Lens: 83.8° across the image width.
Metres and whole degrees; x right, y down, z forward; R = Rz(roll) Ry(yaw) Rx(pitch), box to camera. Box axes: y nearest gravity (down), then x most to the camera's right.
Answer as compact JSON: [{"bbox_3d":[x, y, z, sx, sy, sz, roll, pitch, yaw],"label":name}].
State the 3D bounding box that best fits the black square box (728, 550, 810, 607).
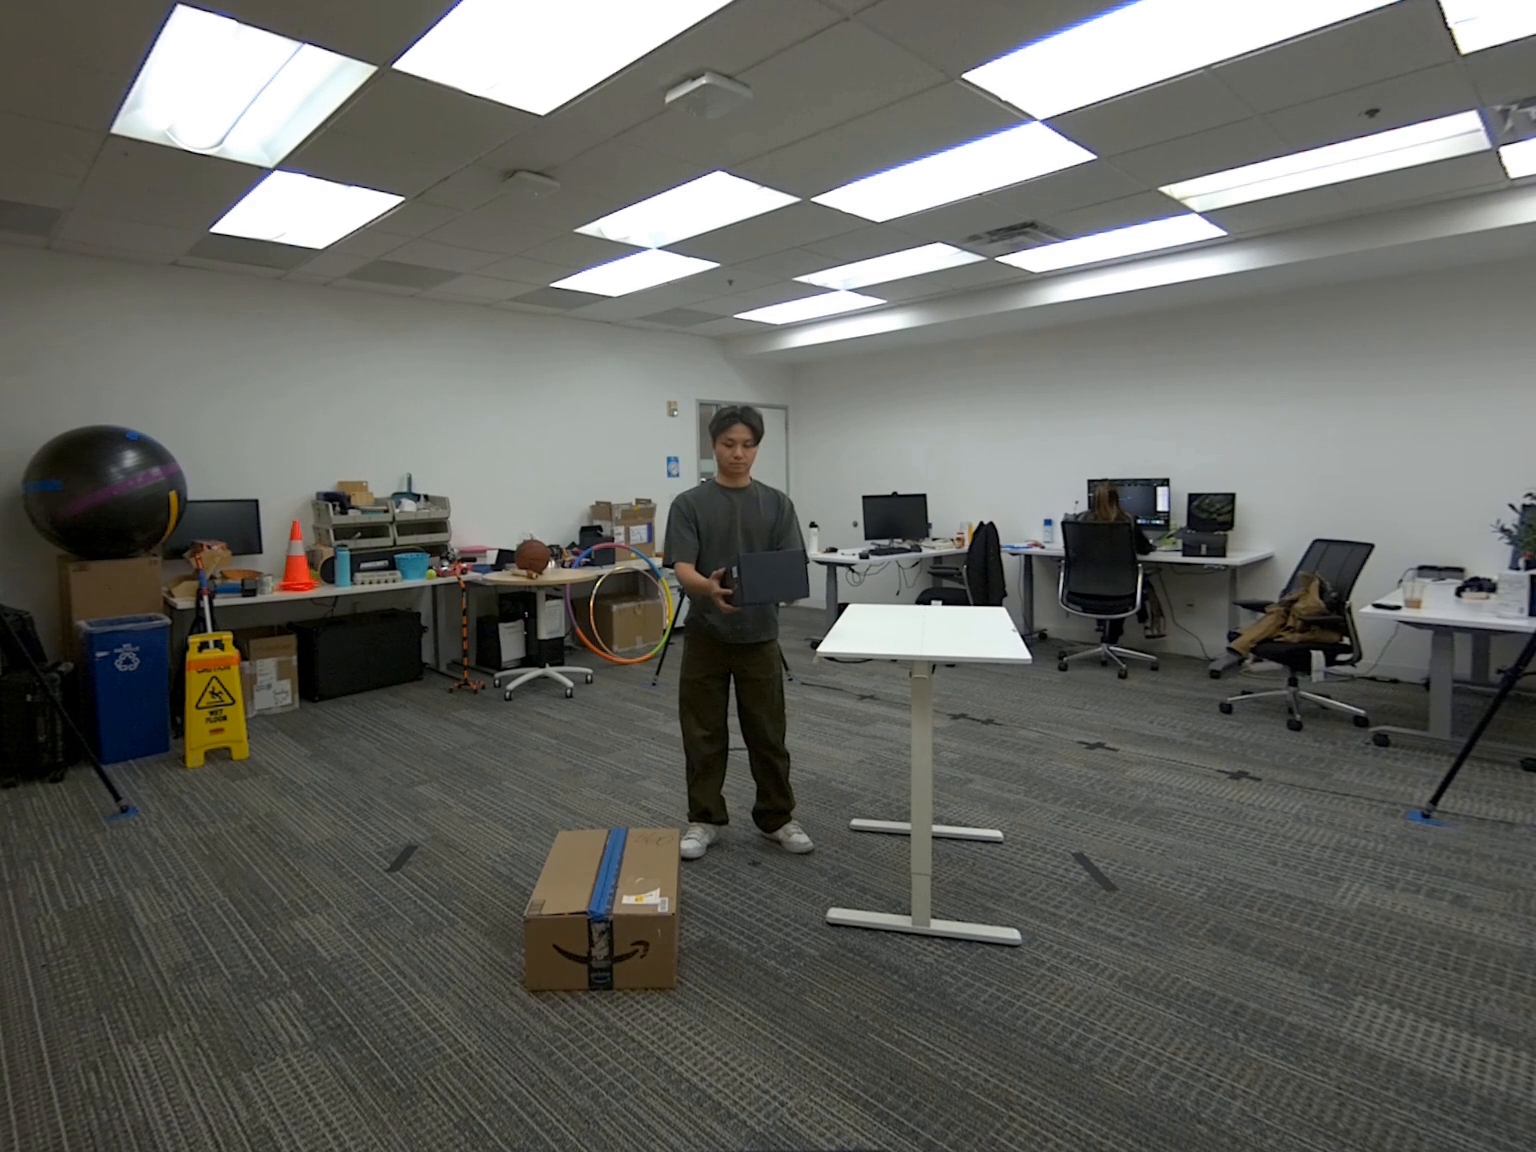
[{"bbox_3d":[-0.016,0.008,2.776,0.224,0.156,0.219,-5,-2,-18],"label":"black square box"}]
